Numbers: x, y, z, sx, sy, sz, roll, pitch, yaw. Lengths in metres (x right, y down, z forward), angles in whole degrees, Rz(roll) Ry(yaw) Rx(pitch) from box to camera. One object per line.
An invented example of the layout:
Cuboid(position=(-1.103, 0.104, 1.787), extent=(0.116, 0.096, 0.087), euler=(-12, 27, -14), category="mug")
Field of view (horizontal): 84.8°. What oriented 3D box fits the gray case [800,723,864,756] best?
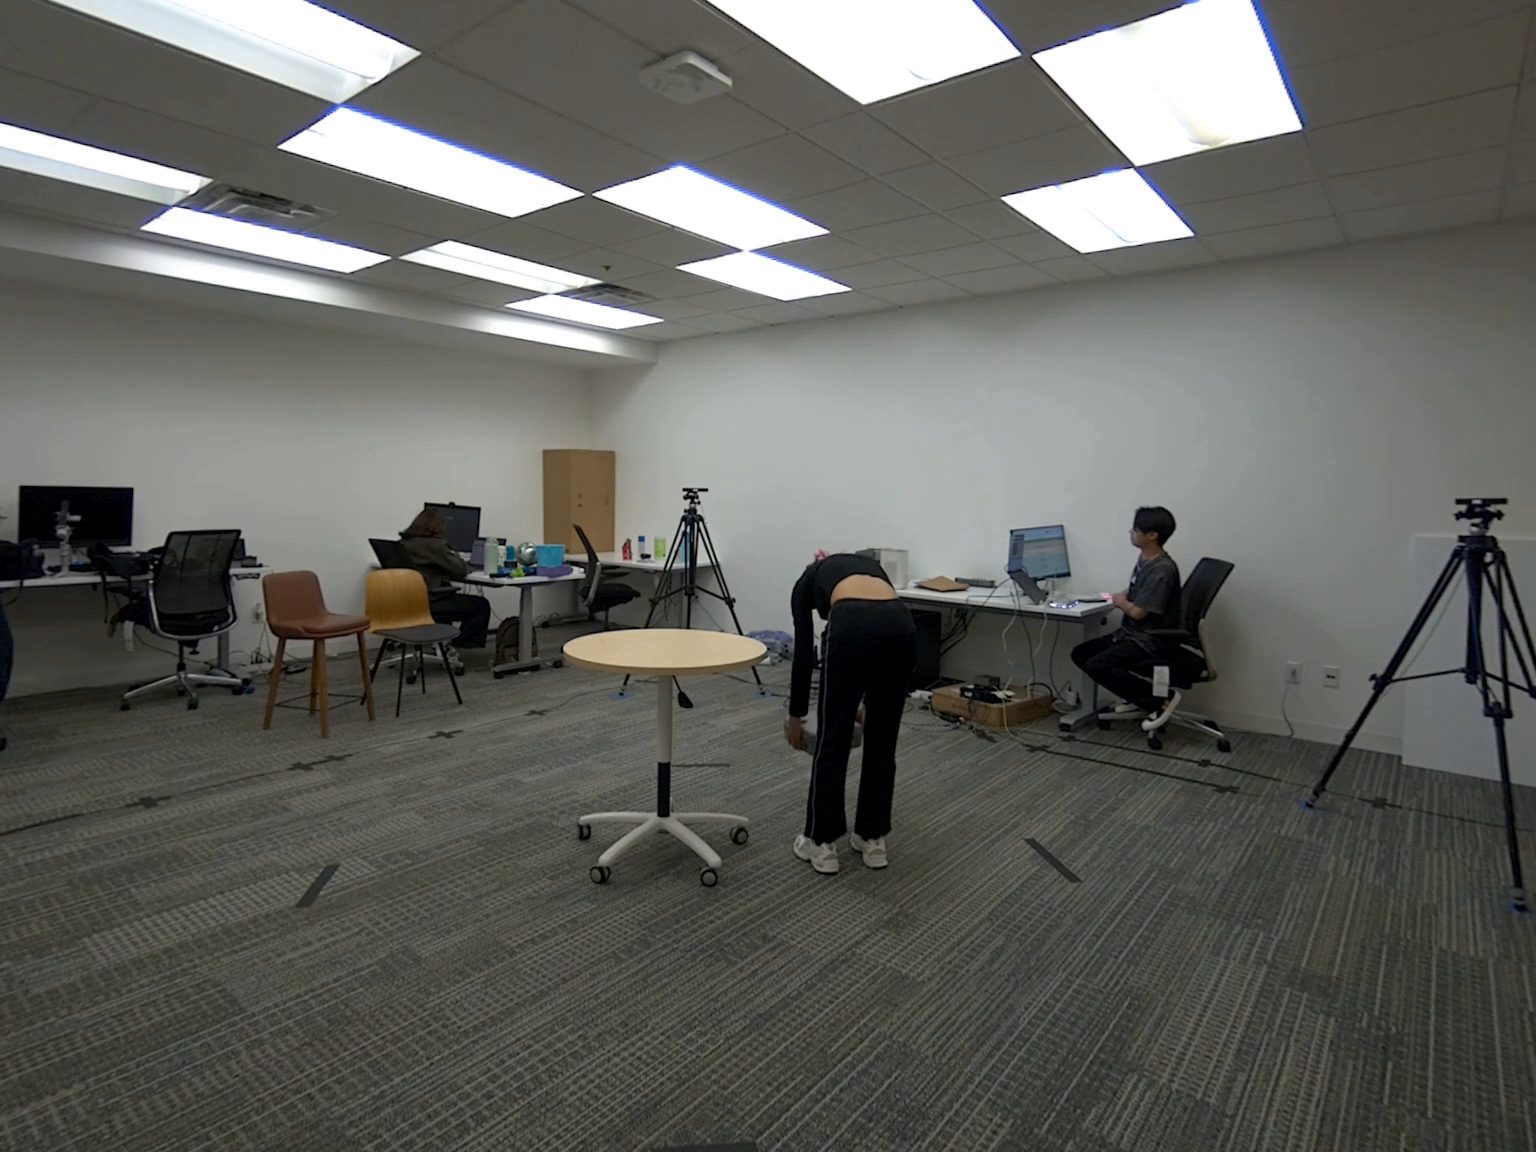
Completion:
Cuboid(position=(0.230, 0.642, 3.535), extent=(0.251, 0.103, 0.269), euler=(-5, 11, -26), category="gray case")
